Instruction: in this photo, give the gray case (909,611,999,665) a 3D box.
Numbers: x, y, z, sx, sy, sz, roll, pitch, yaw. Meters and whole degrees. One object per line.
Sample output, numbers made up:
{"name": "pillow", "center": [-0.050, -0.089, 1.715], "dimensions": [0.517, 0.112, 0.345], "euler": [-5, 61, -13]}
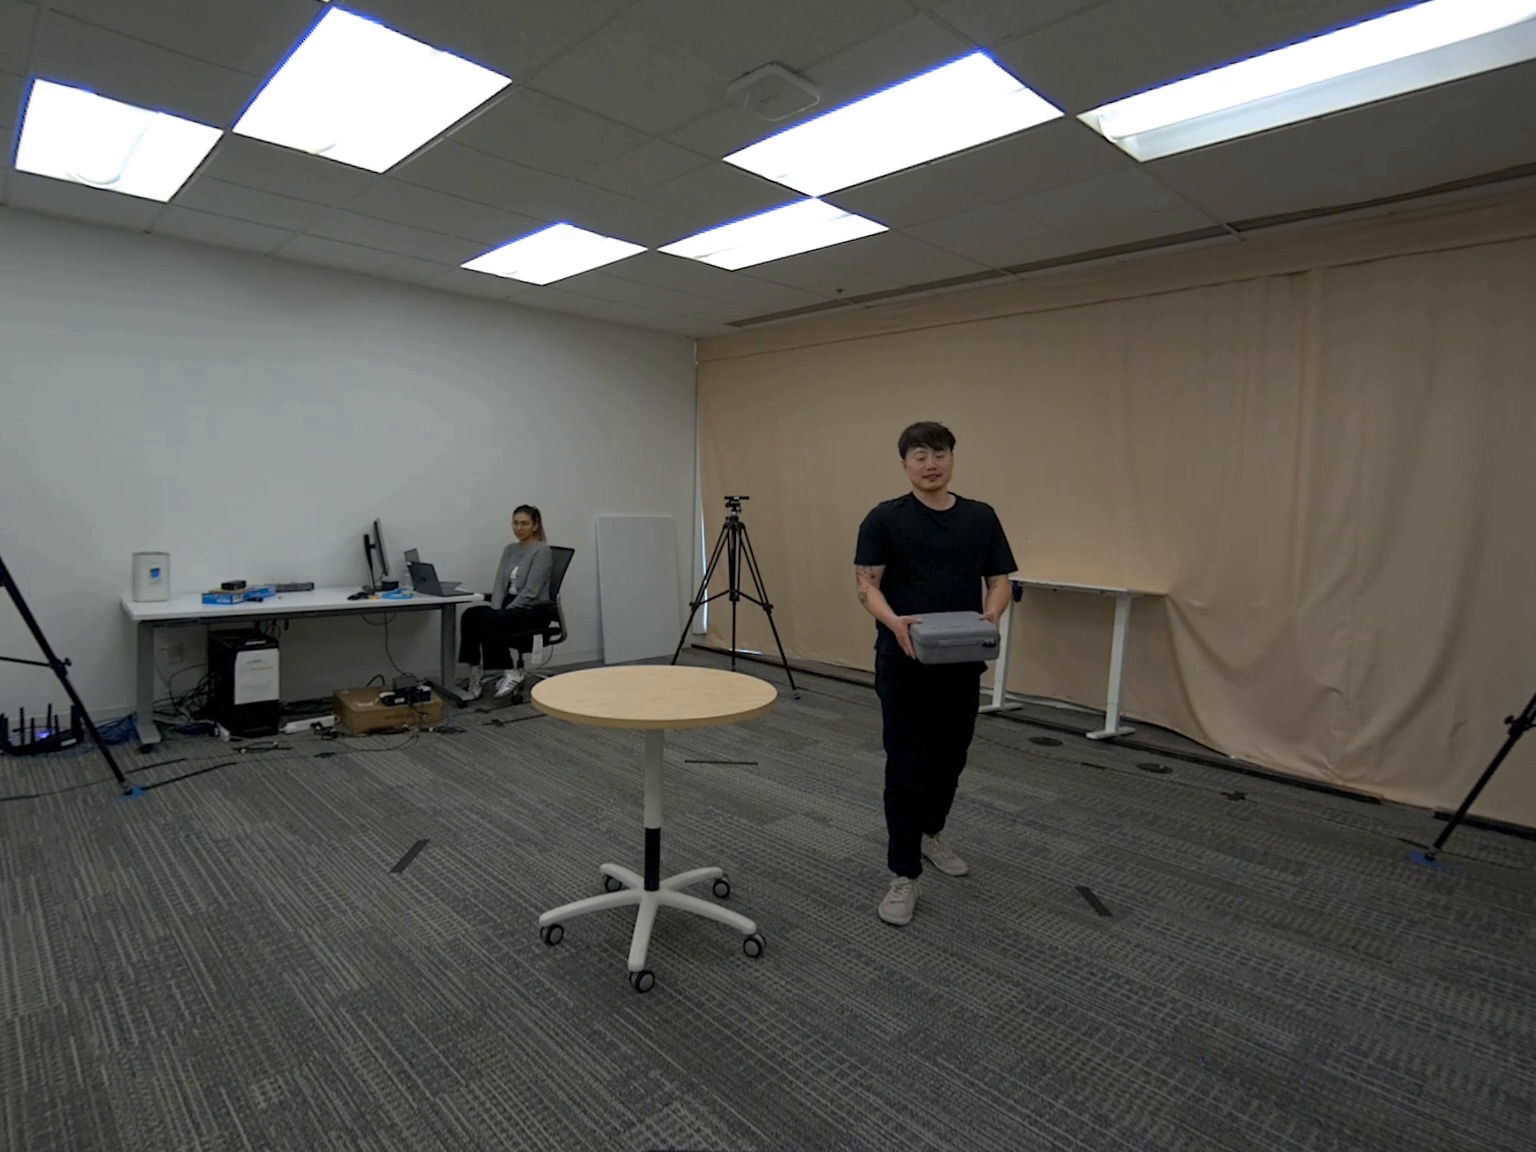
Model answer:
{"name": "gray case", "center": [0.565, 0.191, 2.680], "dimensions": [0.257, 0.103, 0.262], "euler": [-4, 10, 1]}
